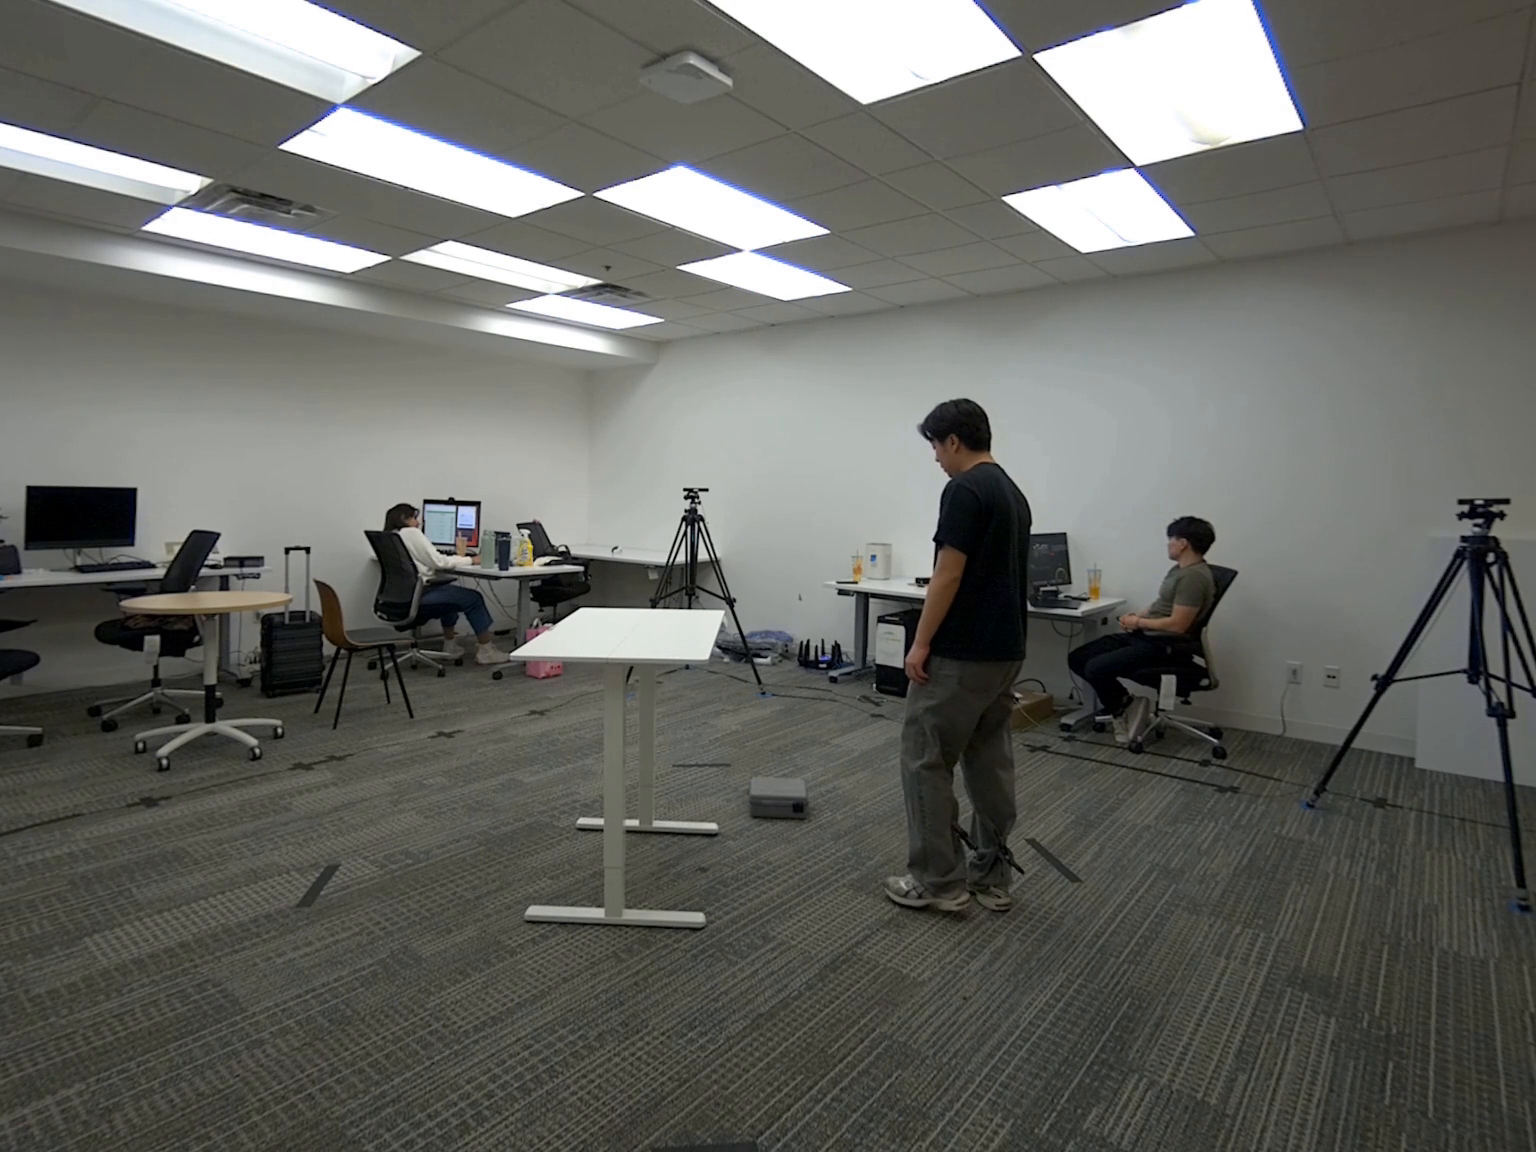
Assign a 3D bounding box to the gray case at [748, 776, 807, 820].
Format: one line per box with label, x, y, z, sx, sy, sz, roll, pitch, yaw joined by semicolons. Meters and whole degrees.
gray case;0.033;0.958;3.729;0.264;0.103;0.287;0;5;2
